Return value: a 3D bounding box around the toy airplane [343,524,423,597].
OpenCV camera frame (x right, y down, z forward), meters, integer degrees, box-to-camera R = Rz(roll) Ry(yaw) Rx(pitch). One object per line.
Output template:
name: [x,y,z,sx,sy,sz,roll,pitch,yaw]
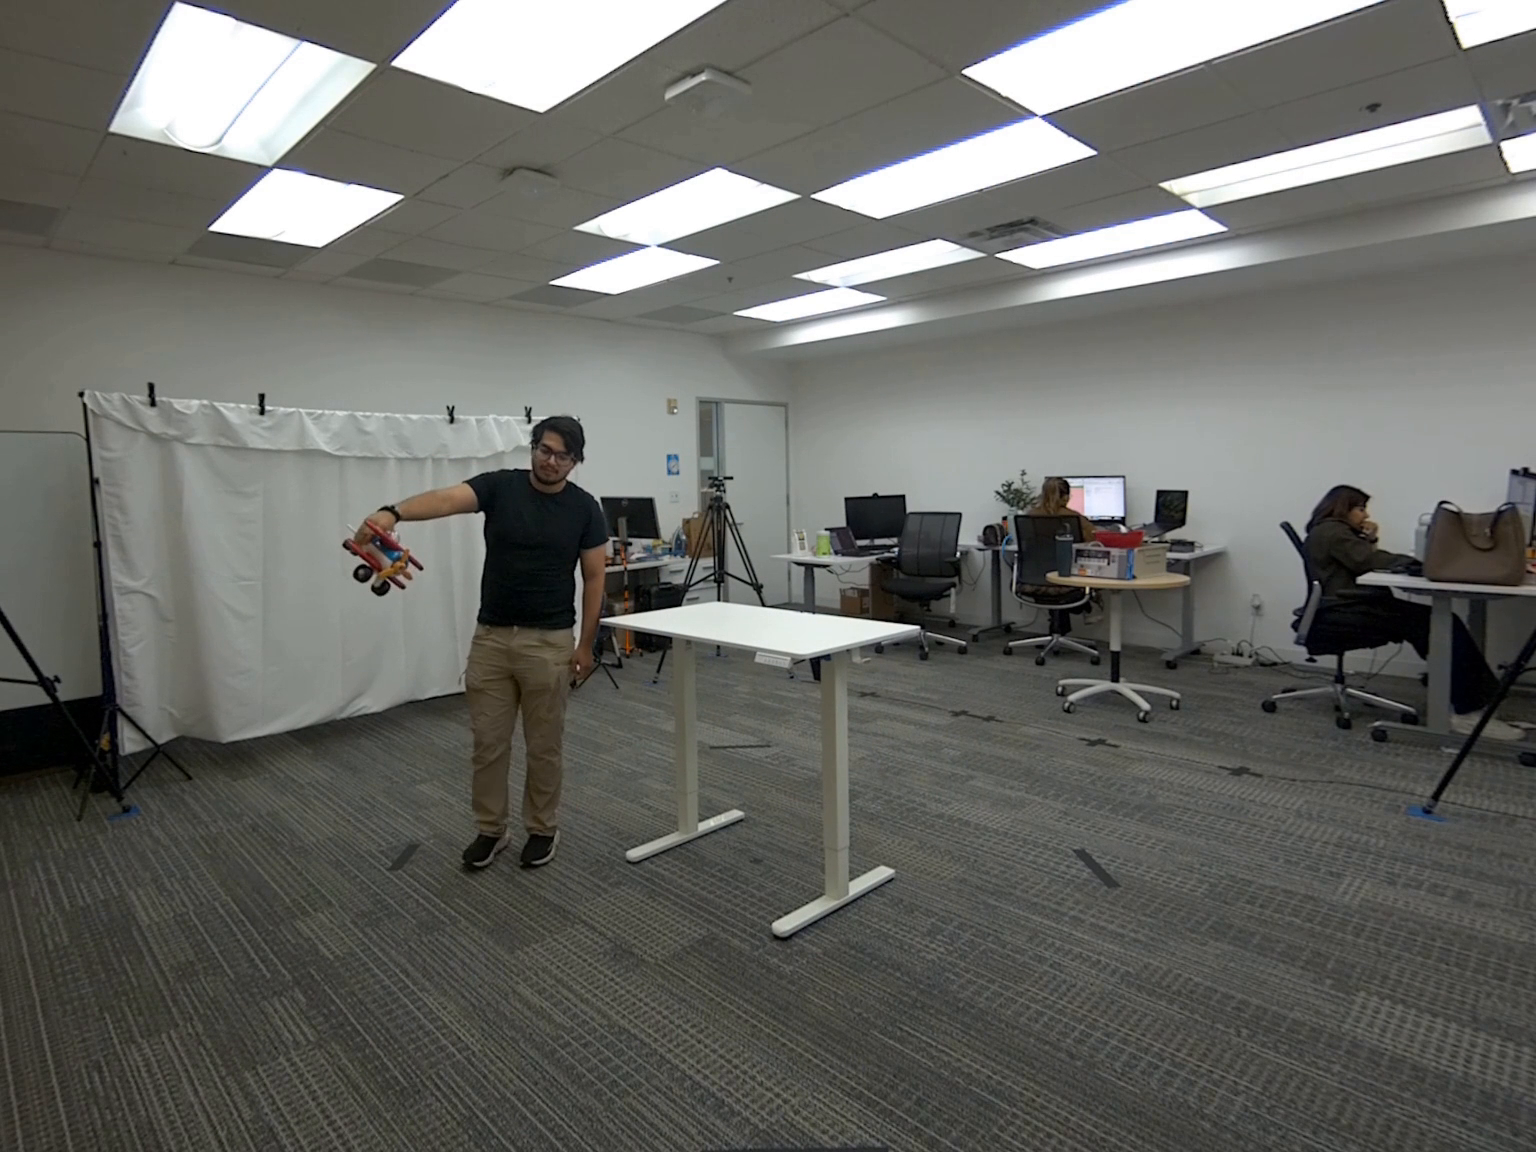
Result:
toy airplane: [-1.211,-0.072,2.611,0.156,0.262,0.249,-39,-6,-8]
